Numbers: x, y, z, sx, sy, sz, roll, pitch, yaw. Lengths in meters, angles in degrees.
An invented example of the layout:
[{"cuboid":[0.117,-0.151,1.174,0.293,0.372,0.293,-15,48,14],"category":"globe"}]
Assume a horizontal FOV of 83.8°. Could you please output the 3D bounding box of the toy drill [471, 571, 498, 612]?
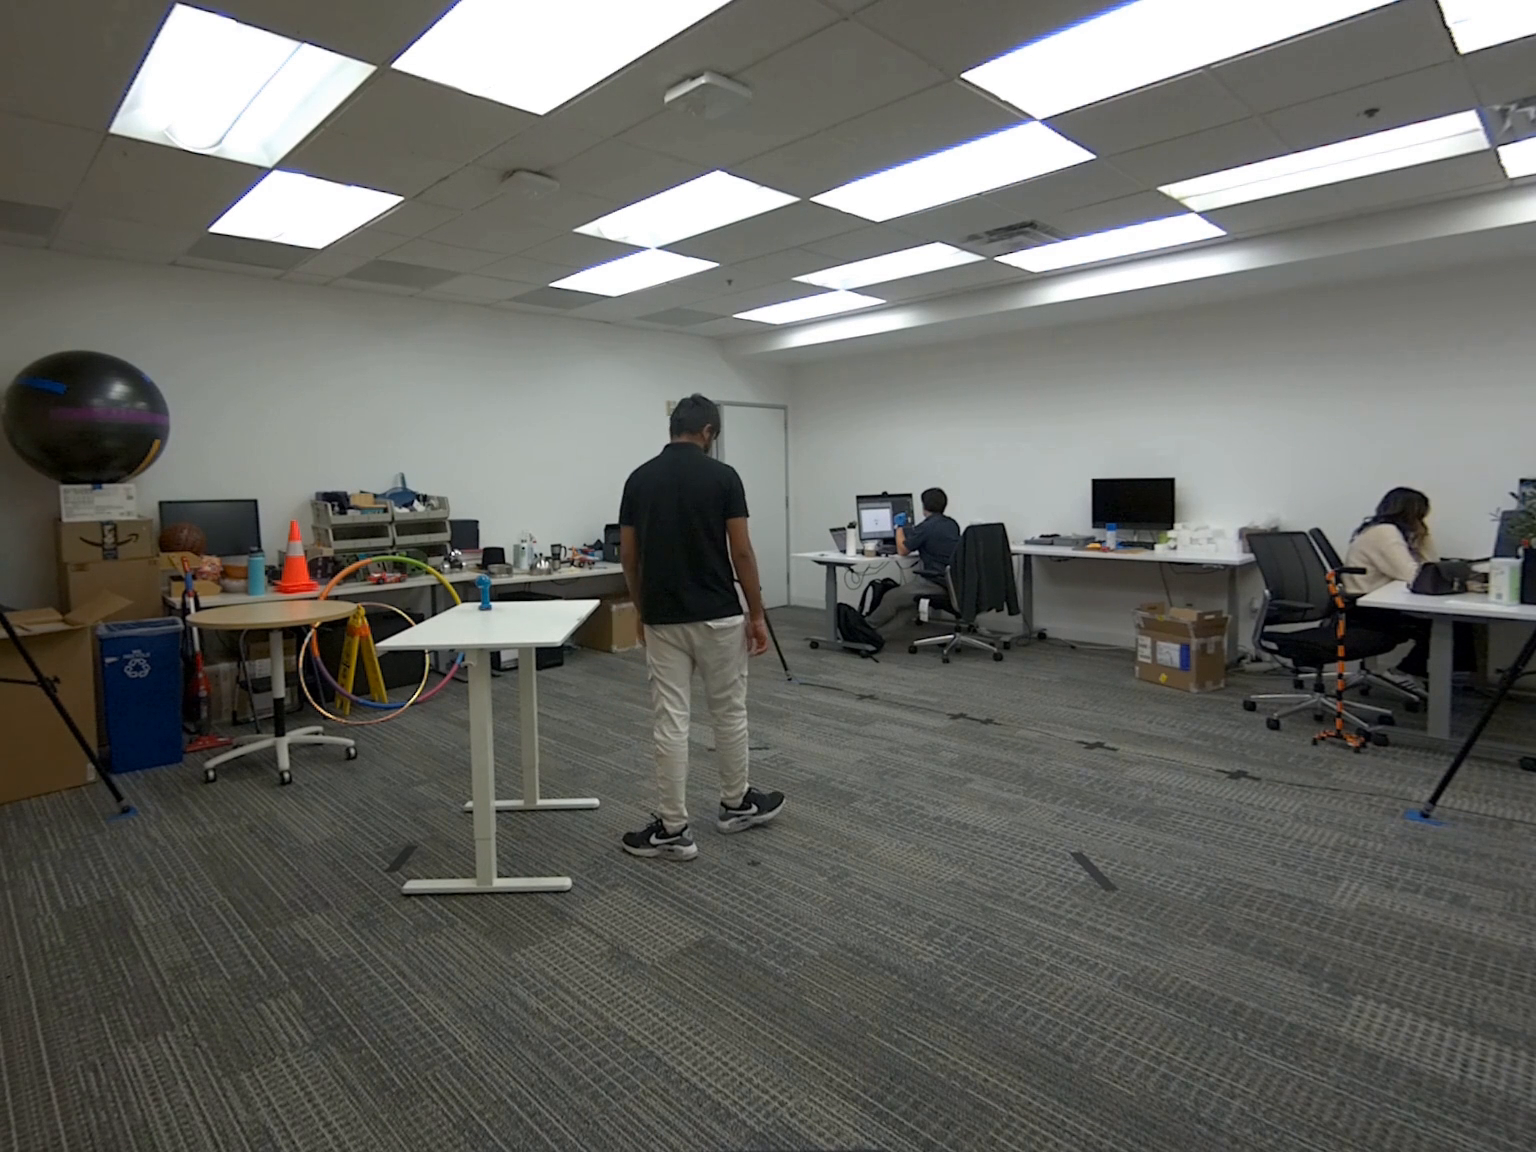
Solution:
[{"cuboid":[-1.182,0.061,3.563,0.060,0.145,0.174,-3,4,-30],"category":"toy drill"}]
